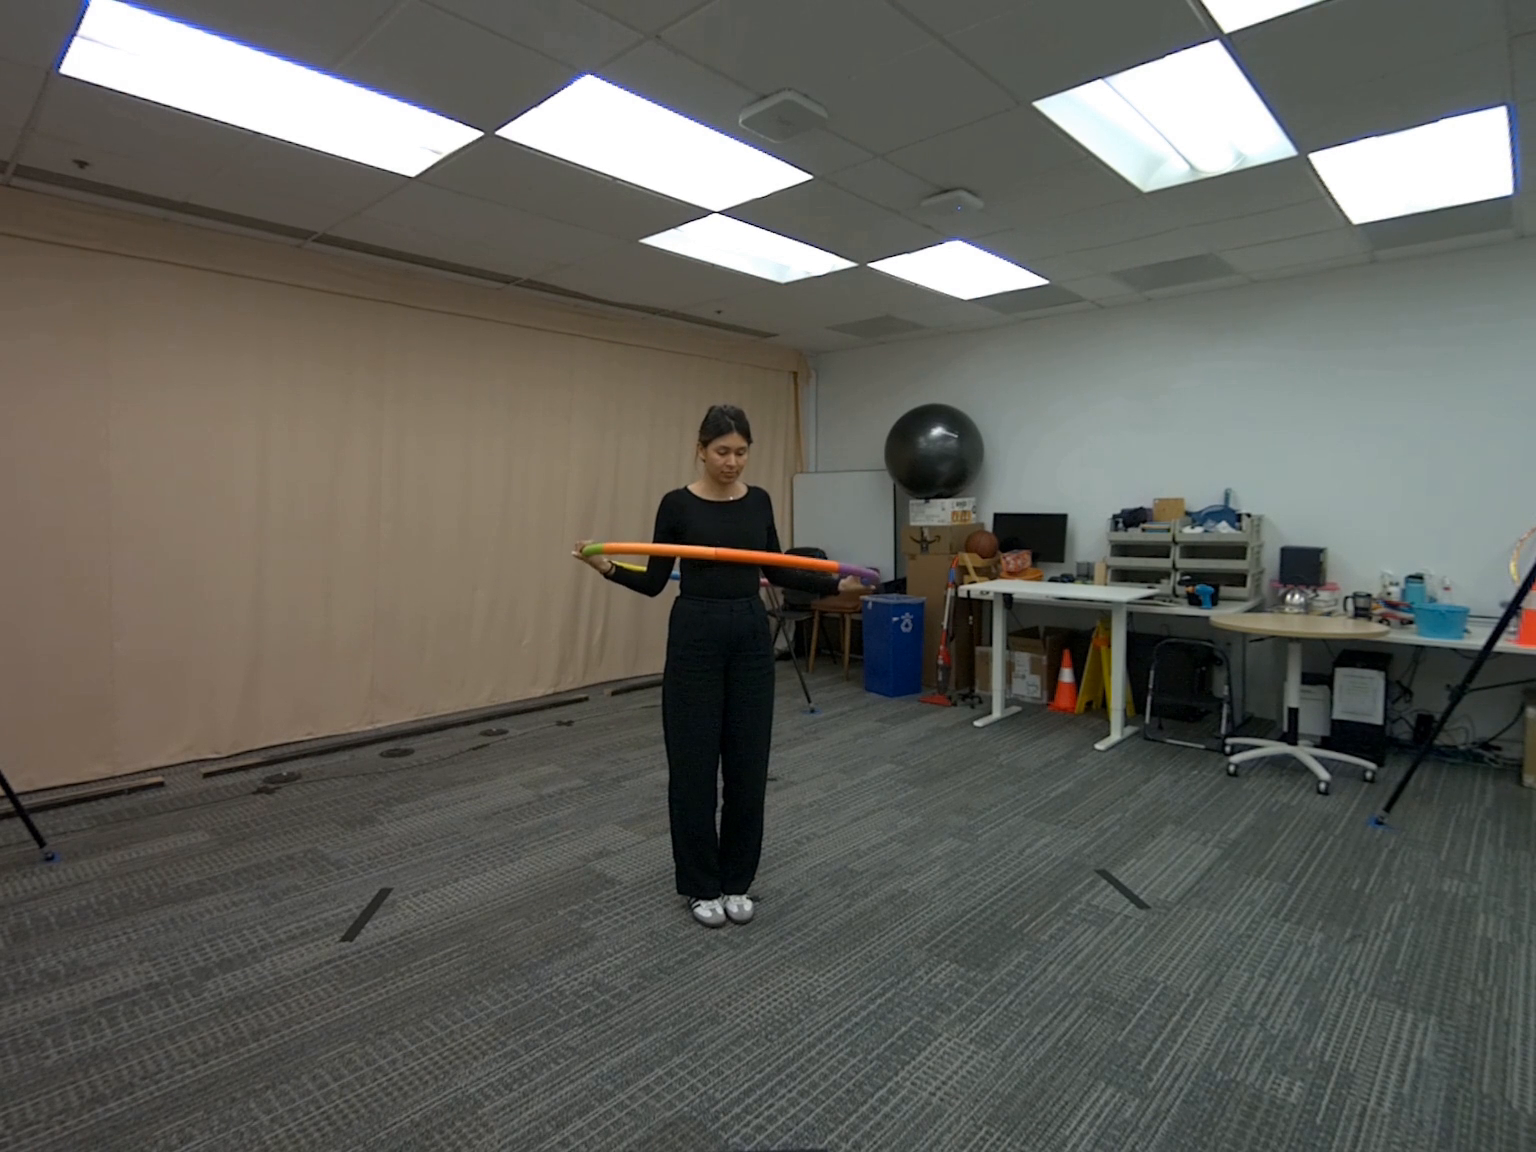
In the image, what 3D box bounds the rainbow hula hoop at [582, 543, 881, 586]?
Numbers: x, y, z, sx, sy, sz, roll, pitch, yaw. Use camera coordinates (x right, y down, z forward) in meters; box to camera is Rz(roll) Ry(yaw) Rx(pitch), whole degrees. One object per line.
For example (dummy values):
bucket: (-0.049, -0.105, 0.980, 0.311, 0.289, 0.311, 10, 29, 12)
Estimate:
rainbow hula hoop: (-0.133, -0.022, 2.824, 0.979, 0.036, 0.976, 6, -6, -1)
